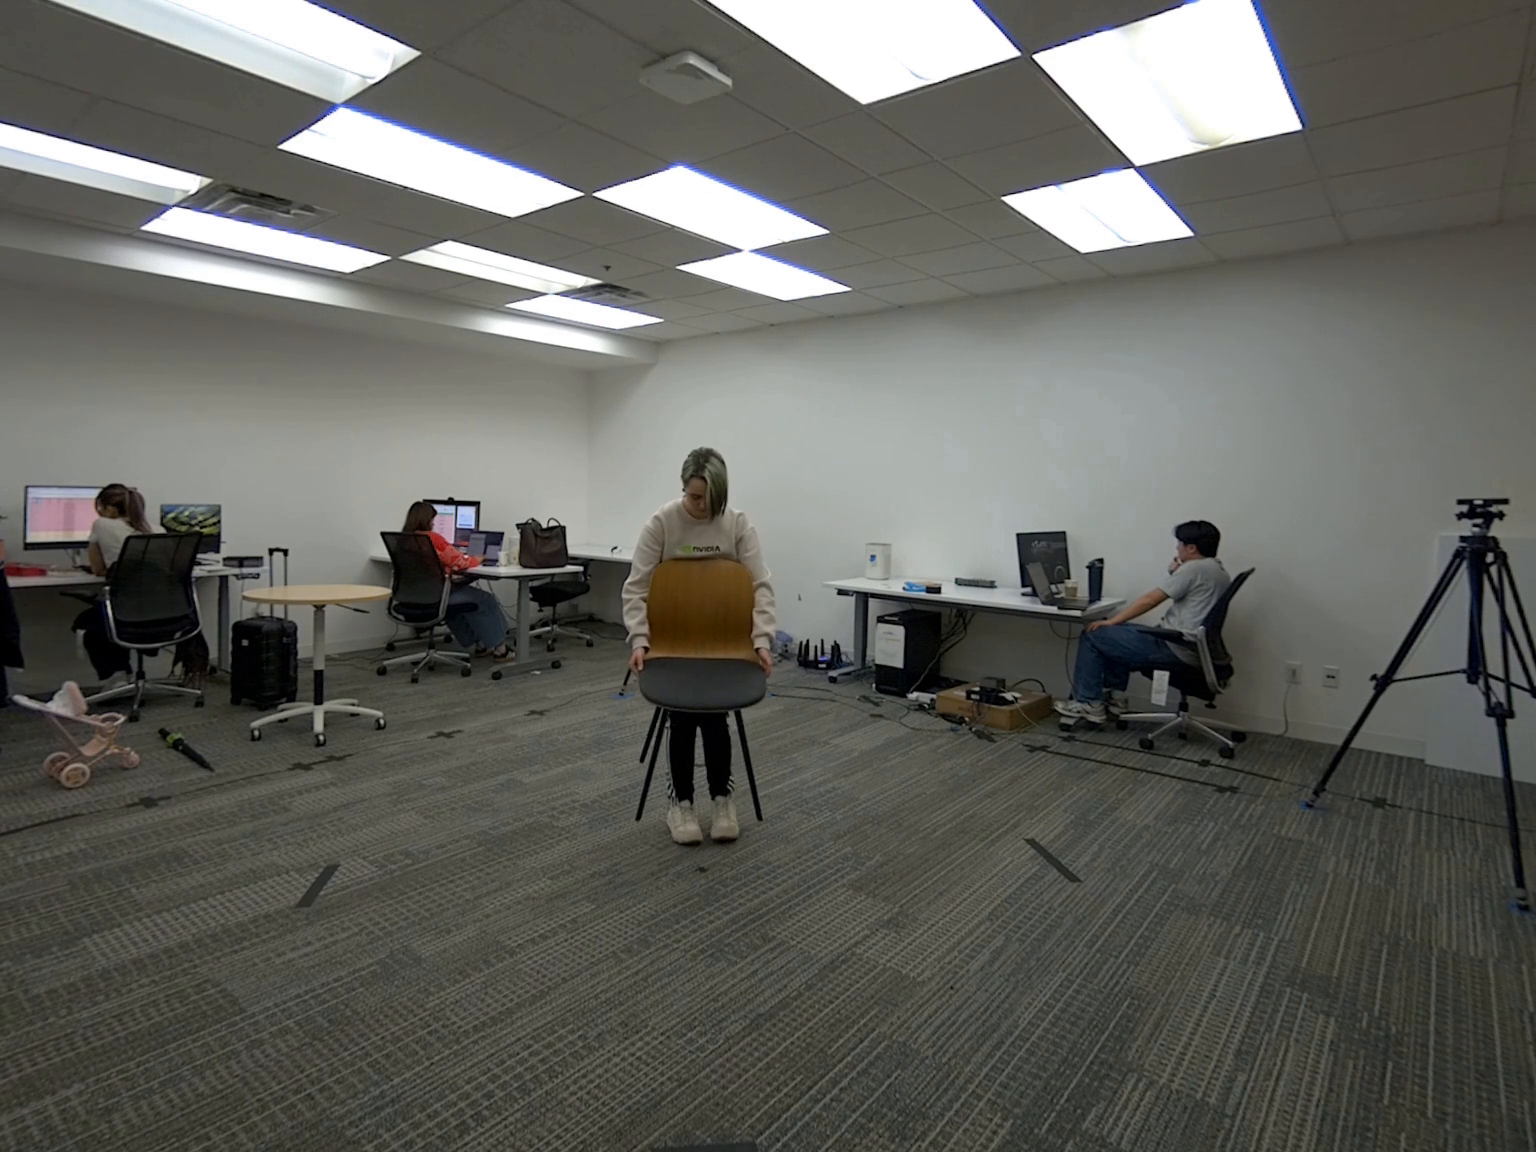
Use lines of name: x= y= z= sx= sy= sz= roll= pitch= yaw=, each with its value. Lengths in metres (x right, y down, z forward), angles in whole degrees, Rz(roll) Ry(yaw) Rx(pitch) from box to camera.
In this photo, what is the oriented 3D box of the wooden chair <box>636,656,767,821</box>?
wooden chair: x=-0.247 y=0.408 z=3.153 sx=0.475 sy=0.871 sz=0.530 roll=1 pitch=8 yaw=-7
